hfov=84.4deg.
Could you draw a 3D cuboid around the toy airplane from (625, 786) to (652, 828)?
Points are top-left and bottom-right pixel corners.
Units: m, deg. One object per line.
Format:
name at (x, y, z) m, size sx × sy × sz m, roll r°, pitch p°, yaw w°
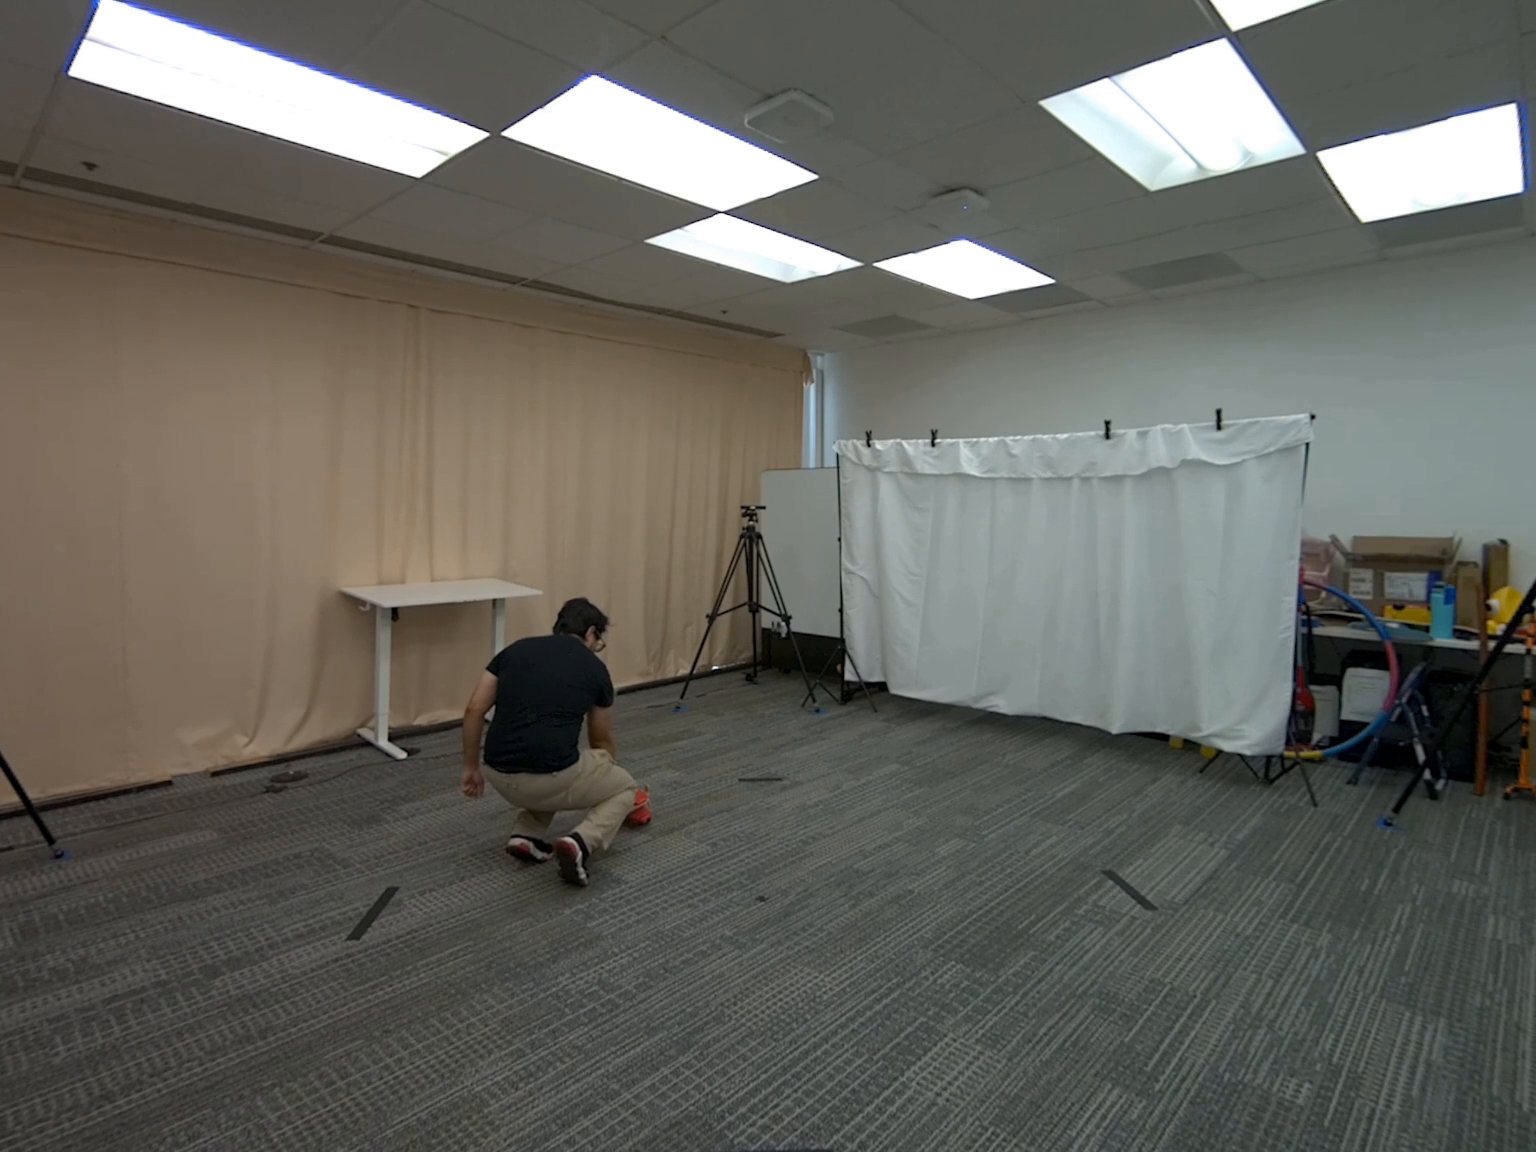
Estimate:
toy airplane at (-0.624, 1.015, 3.668) m, size 0.258 × 0.156 × 0.253 m, roll 2°, pitch 3°, yaw 25°
